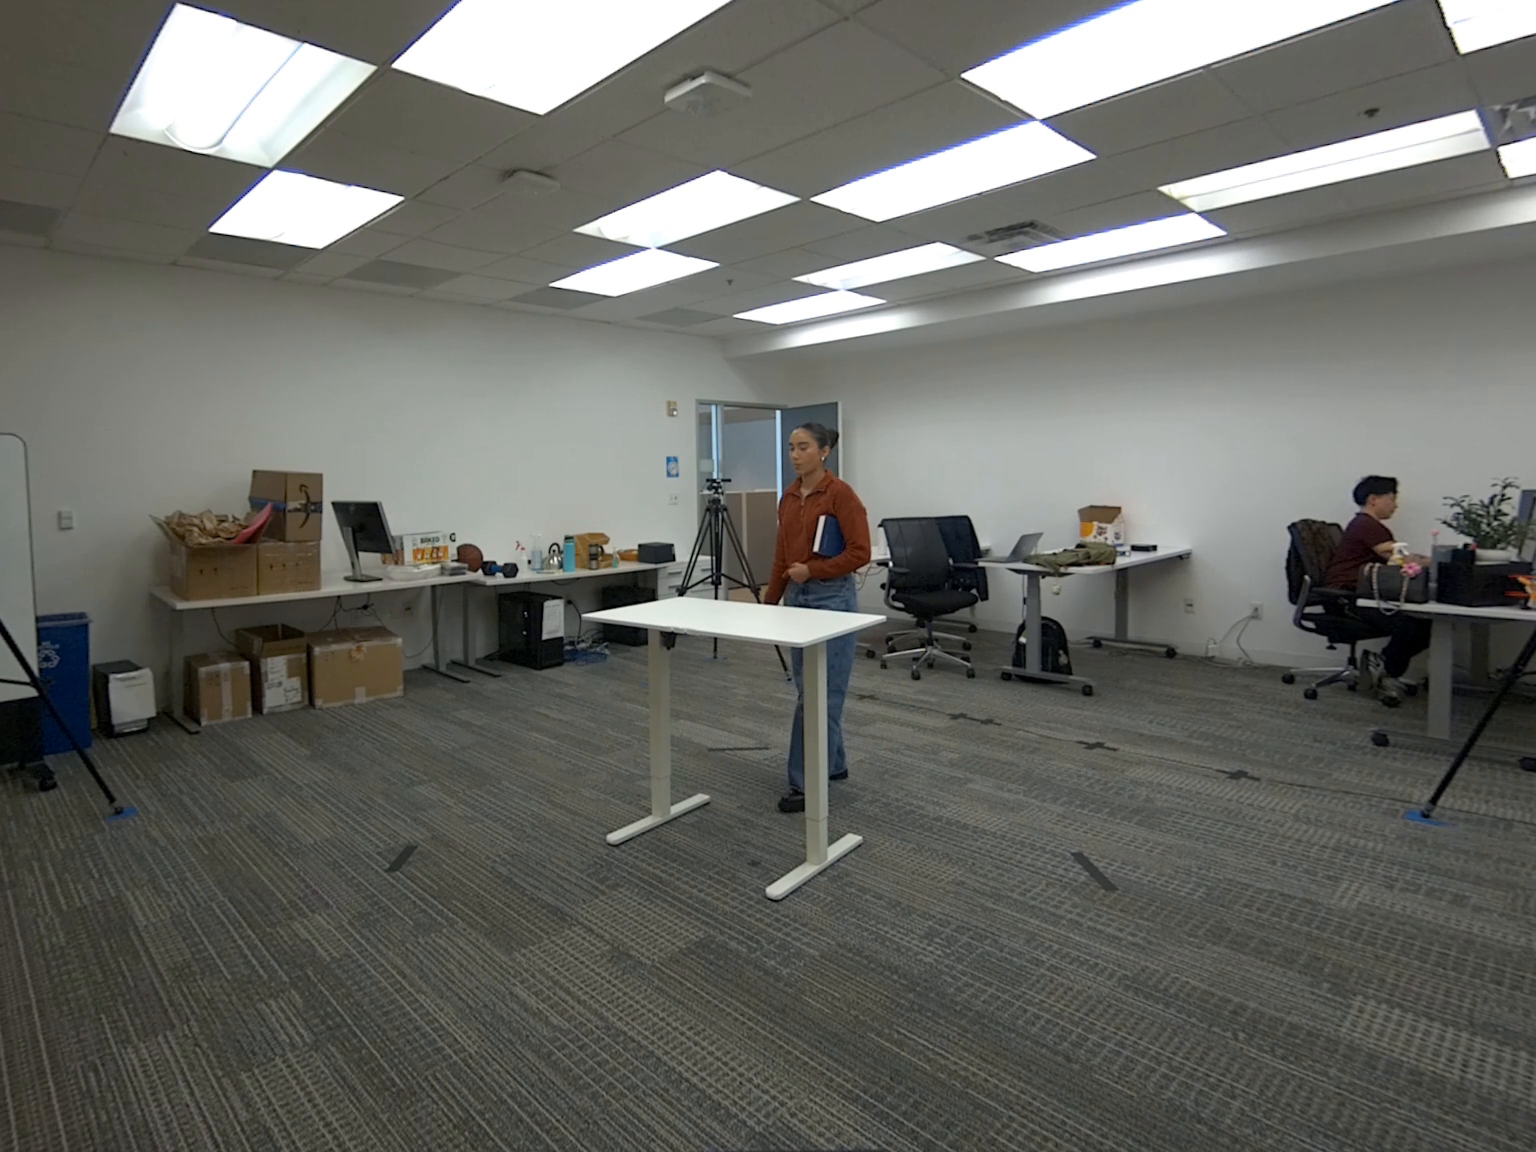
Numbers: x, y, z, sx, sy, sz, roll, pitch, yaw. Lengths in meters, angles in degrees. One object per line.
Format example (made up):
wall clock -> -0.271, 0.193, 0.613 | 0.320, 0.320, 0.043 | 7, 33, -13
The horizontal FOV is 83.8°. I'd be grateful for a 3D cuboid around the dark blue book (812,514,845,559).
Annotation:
dark blue book -> 0.296, -0.153, 3.654 | 0.237, 0.164, 0.046 | 16, -7, -35
